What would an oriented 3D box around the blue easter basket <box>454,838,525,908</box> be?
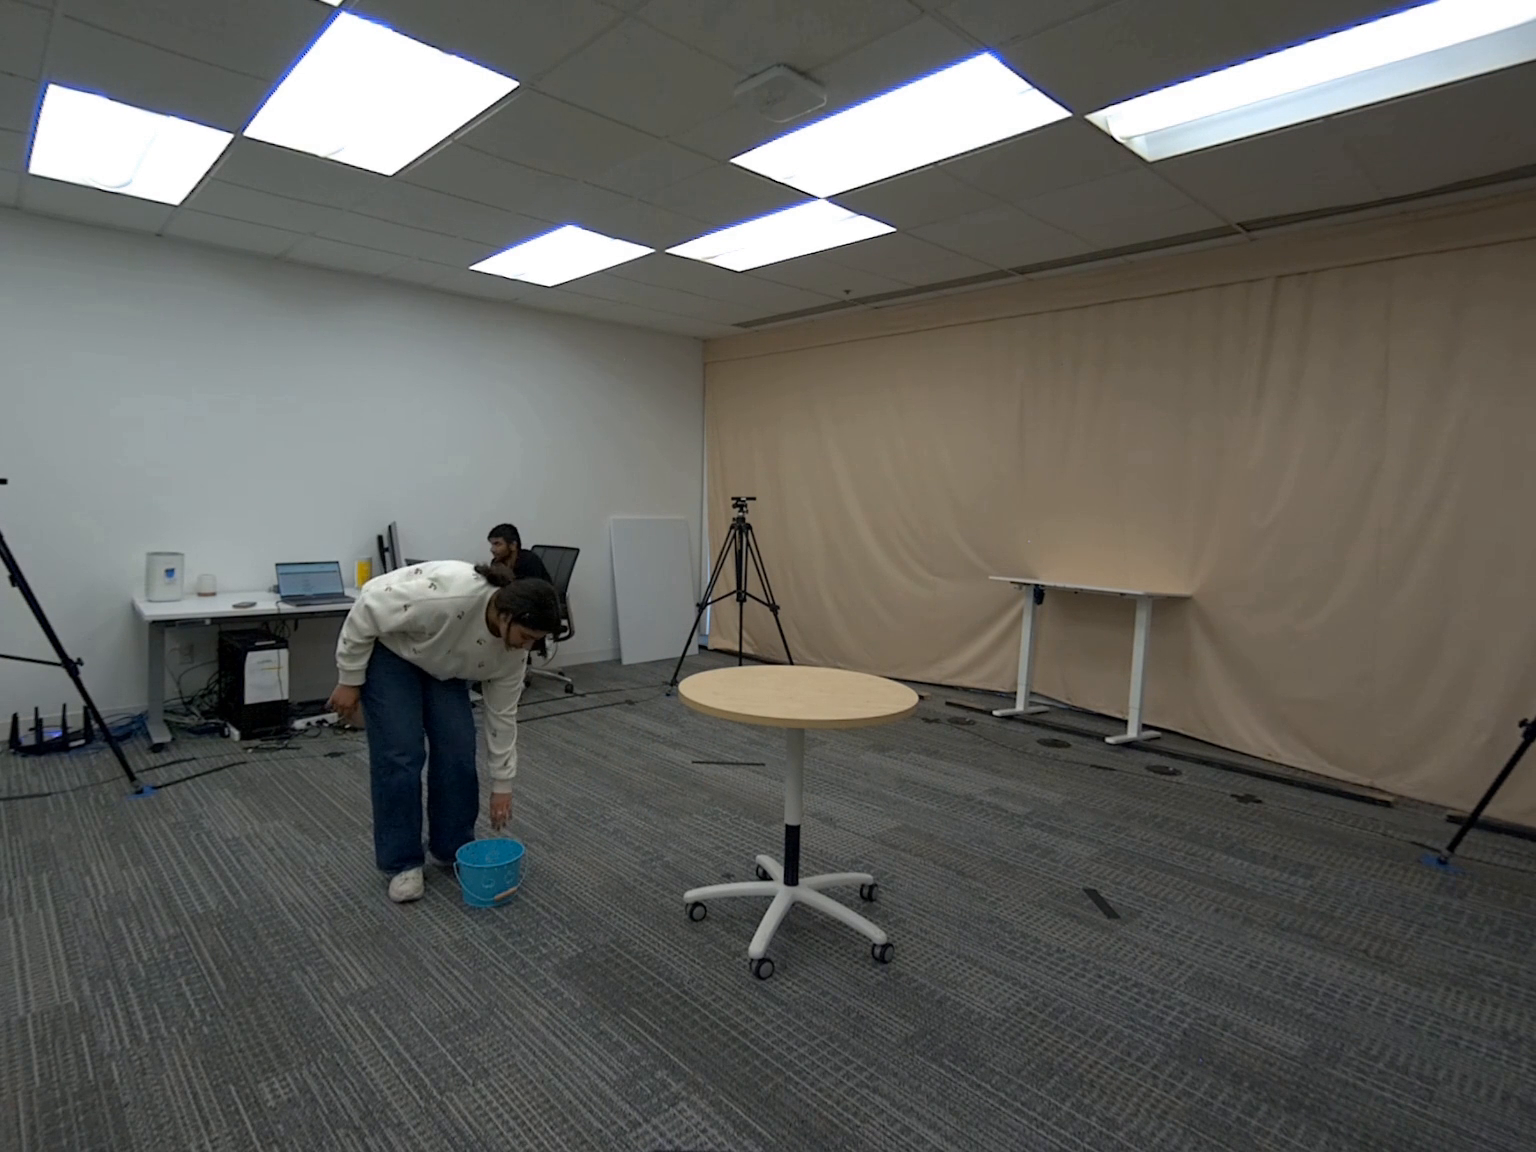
[{"bbox_3d":[-0.976,1.031,2.909,0.243,0.155,0.244,1,5,-1],"label":"blue easter basket"}]
